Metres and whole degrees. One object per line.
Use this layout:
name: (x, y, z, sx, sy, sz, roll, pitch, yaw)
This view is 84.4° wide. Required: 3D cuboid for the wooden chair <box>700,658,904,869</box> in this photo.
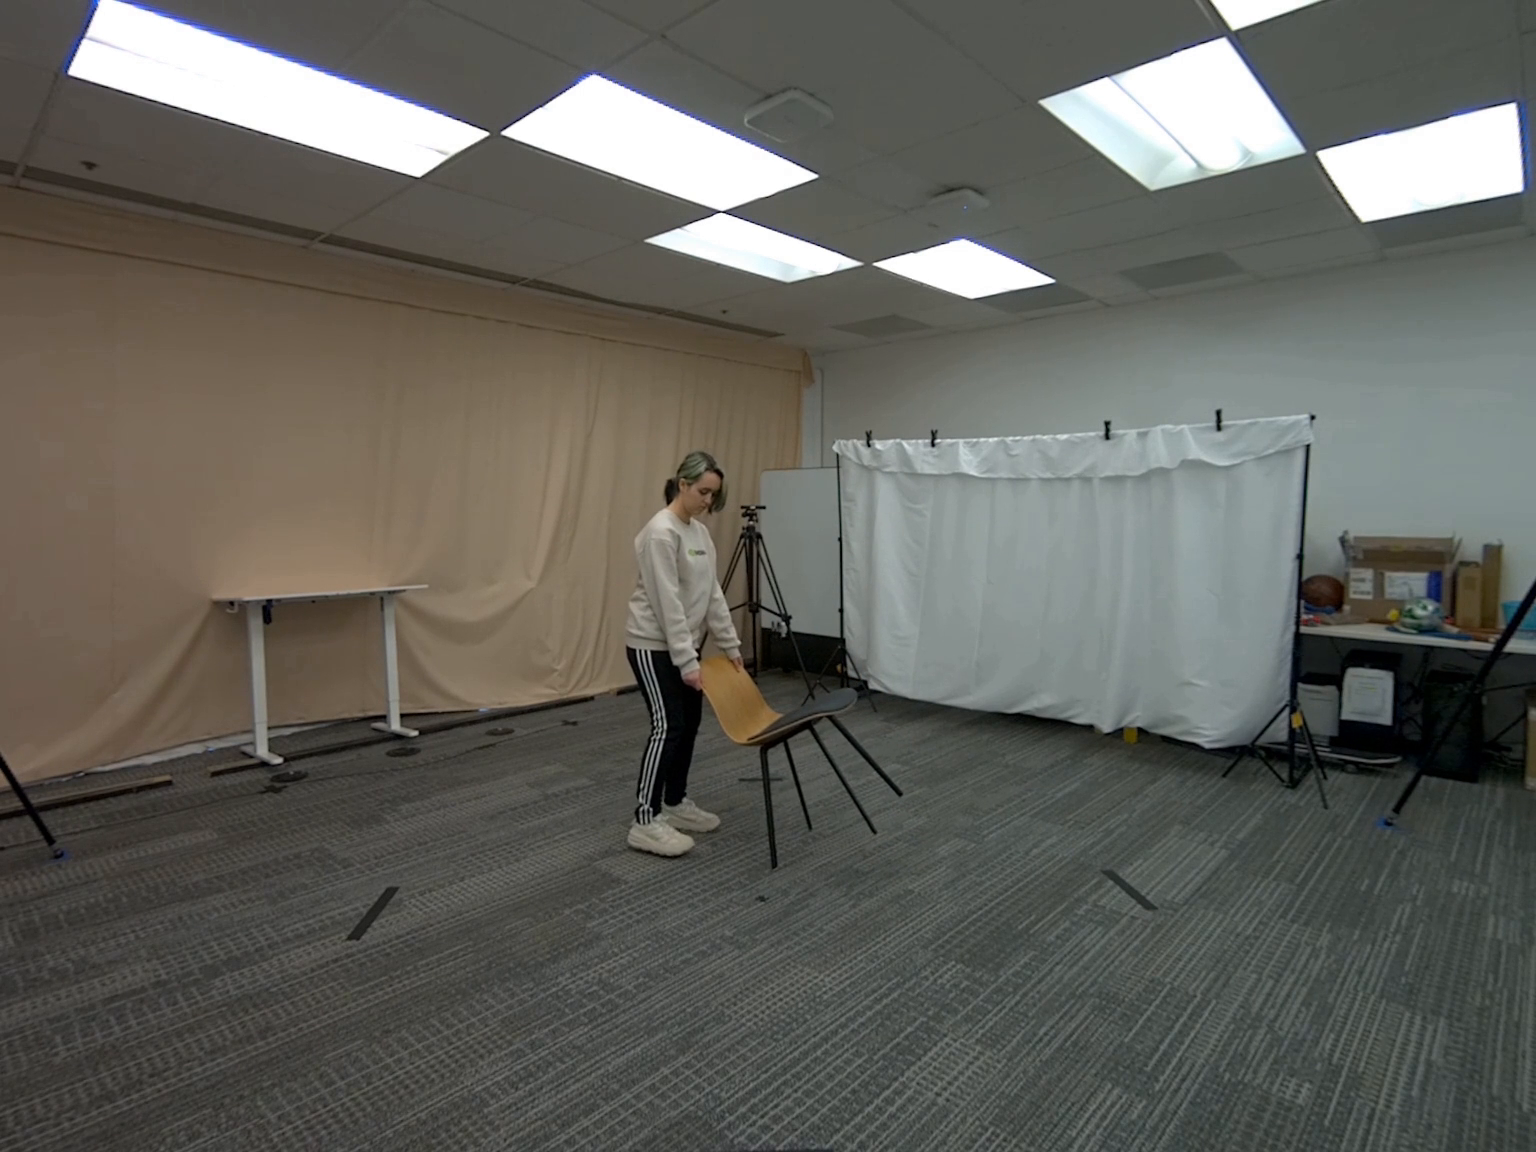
wooden chair: (0.115, 0.624, 3.386, 0.529, 0.887, 0.467, -33, -11, 22)
